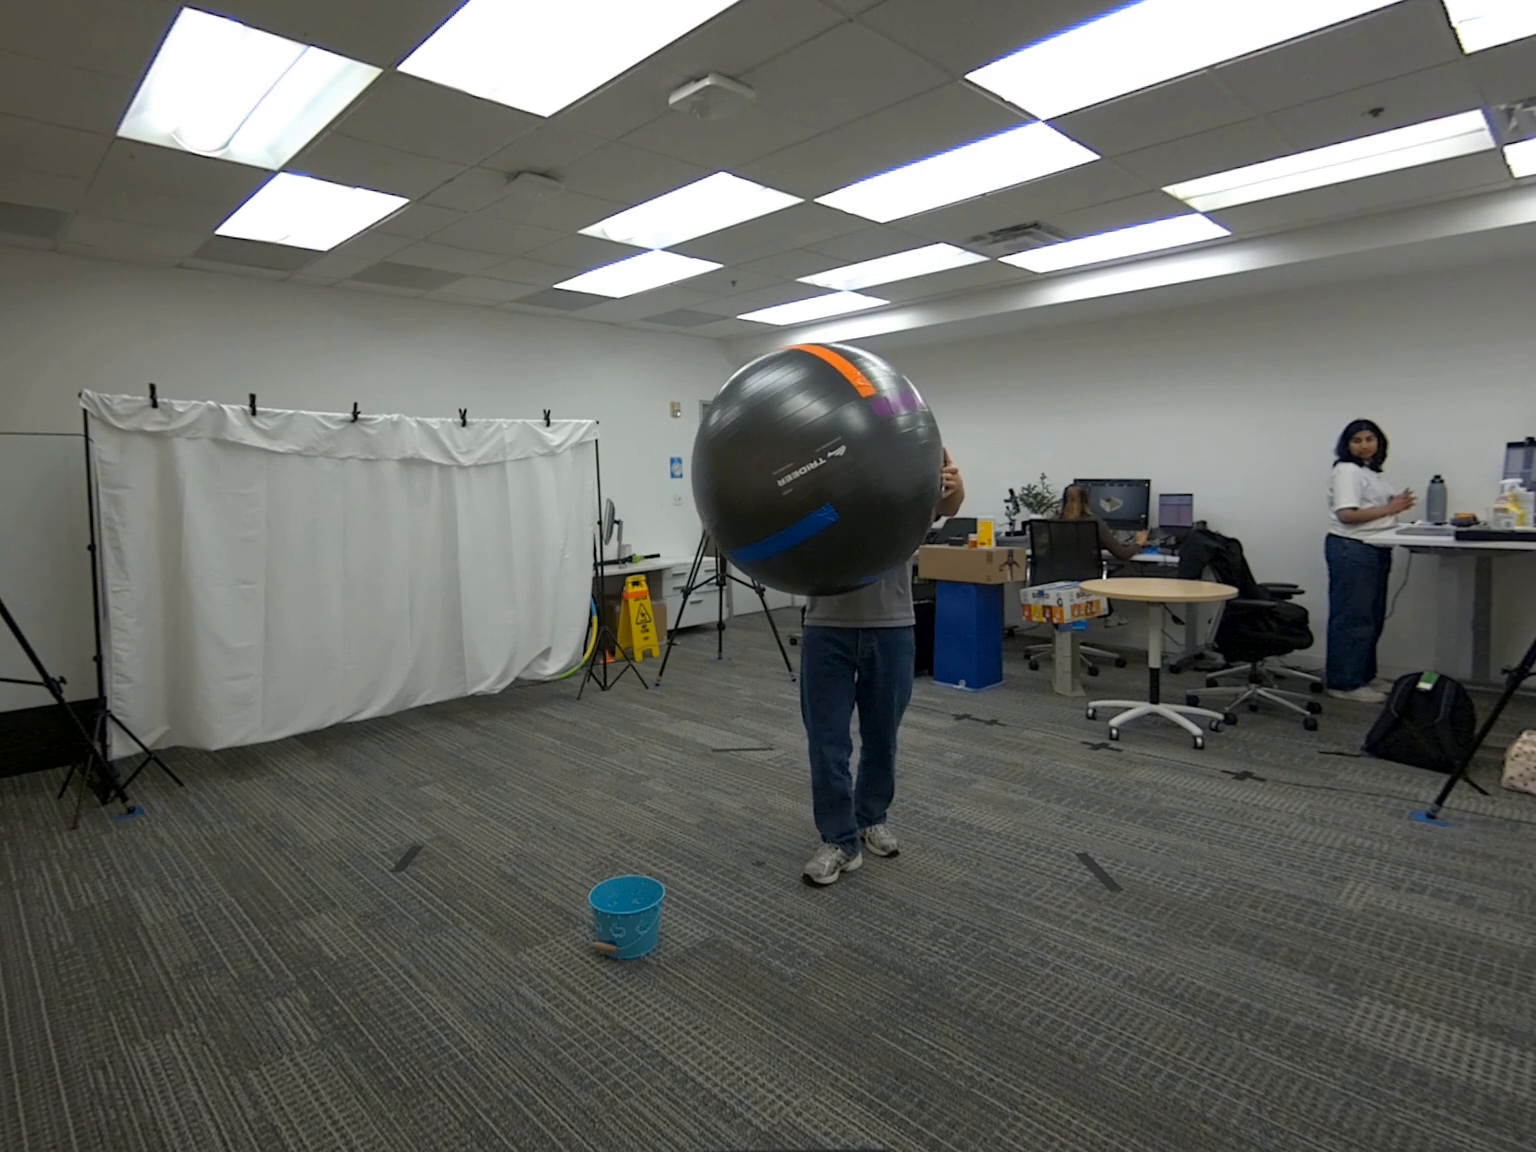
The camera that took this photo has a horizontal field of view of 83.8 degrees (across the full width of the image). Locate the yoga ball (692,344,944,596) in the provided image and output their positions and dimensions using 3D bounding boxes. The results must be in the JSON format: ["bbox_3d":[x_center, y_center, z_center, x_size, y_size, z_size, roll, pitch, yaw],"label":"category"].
[{"bbox_3d":[0.138,-0.308,2.574,0.757,0.755,0.762,-1,5,-2],"label":"yoga ball"}]
